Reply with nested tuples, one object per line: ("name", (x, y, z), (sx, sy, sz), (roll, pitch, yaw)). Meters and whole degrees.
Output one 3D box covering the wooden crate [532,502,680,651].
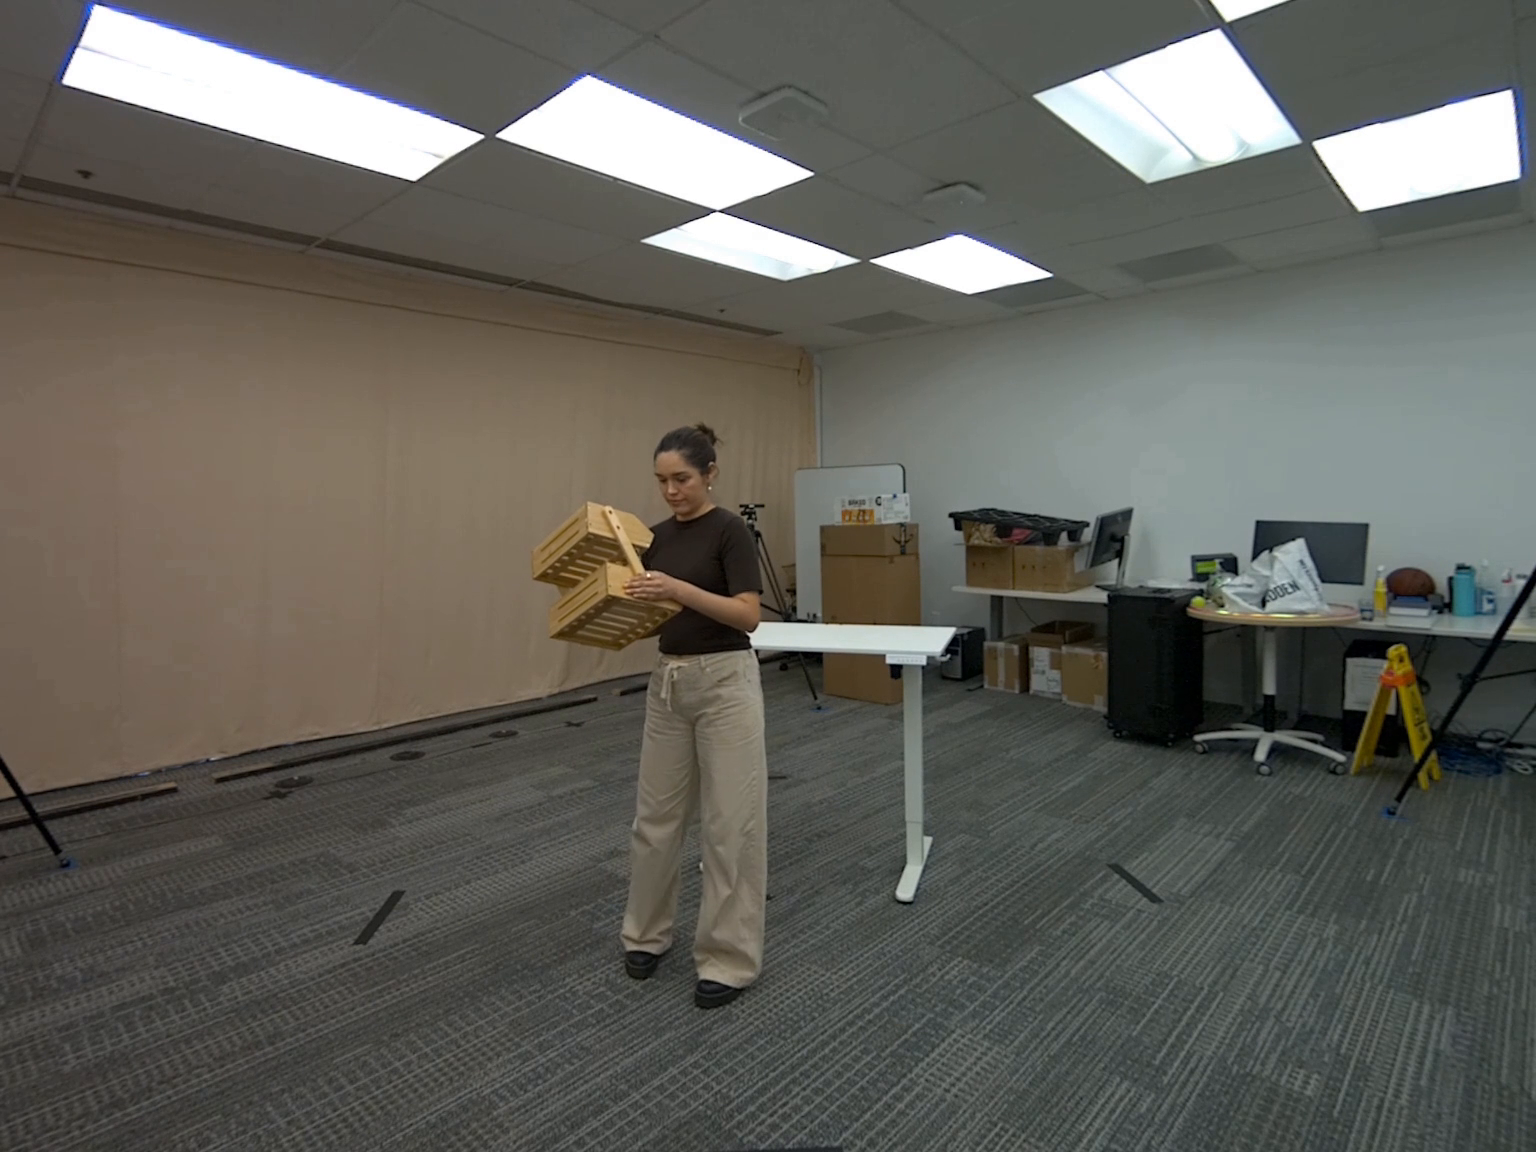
("wooden crate", (-0.443, 0.008, 2.331), (0.291, 0.278, 0.330), (15, -35, -39))
